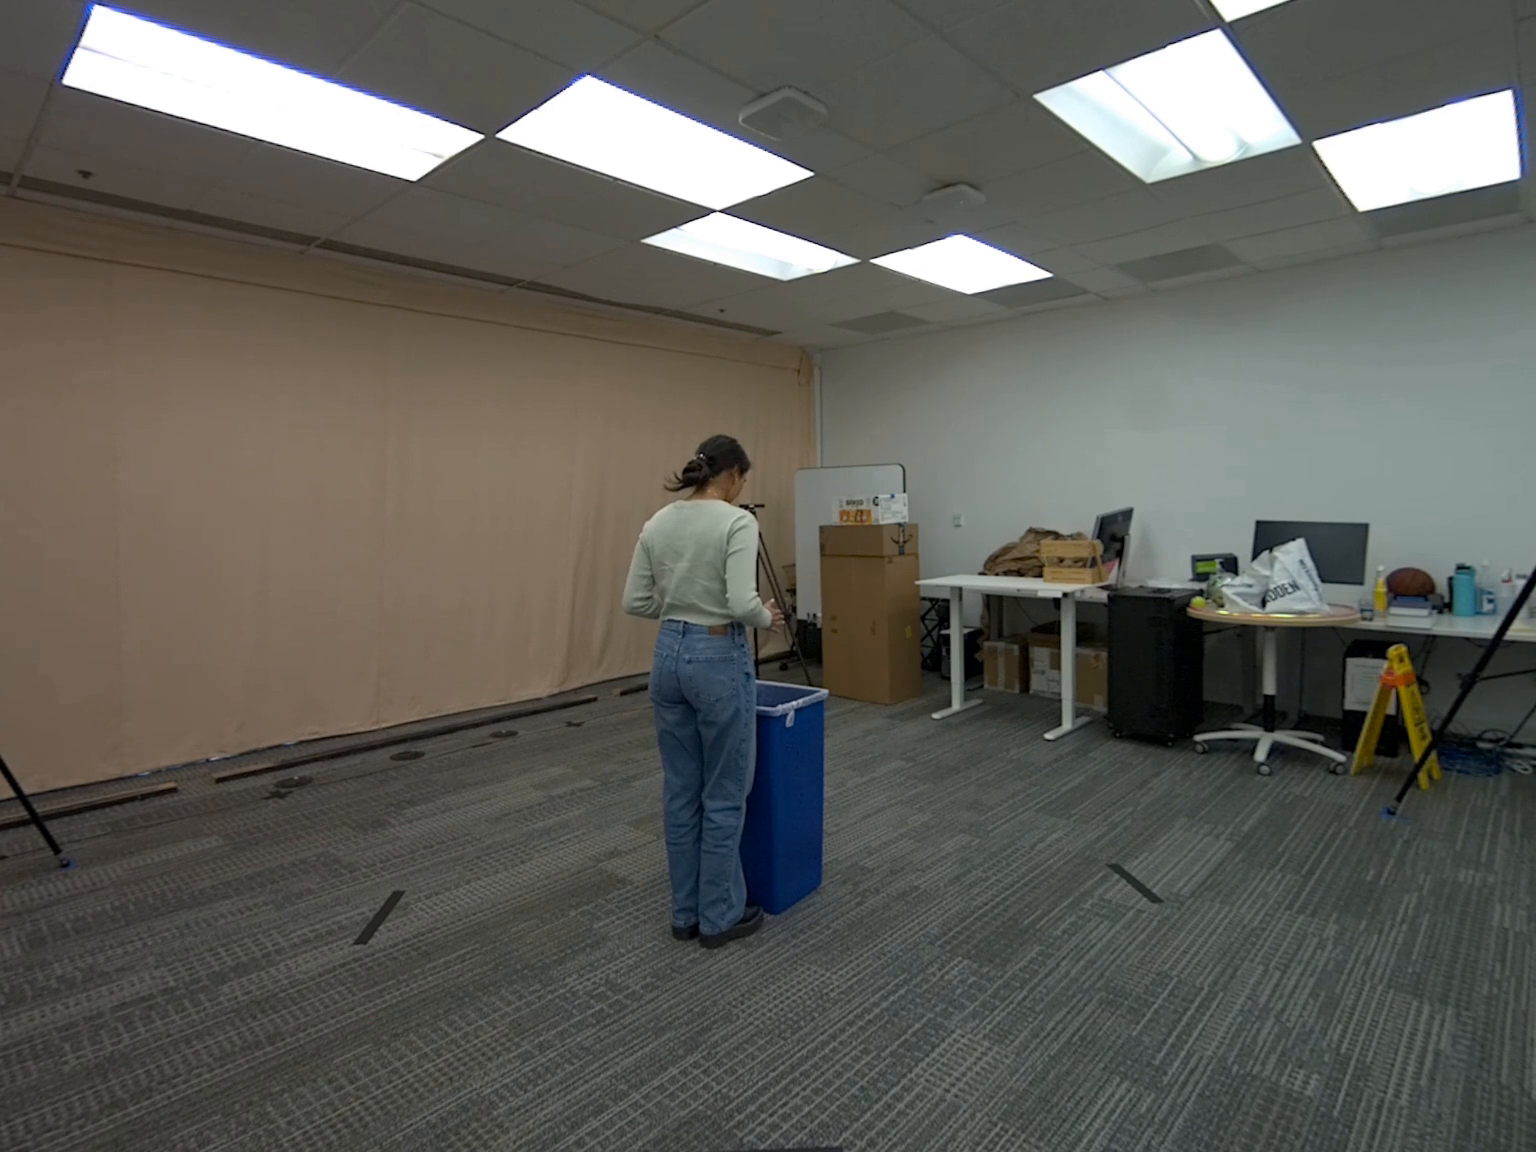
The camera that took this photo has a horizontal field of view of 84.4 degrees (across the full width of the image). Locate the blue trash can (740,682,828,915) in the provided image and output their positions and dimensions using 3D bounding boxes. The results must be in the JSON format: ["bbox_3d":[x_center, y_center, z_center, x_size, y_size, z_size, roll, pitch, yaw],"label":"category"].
[{"bbox_3d":[-0.016,0.775,3.037,0.386,0.712,0.367,2,4,37],"label":"blue trash can"}]
